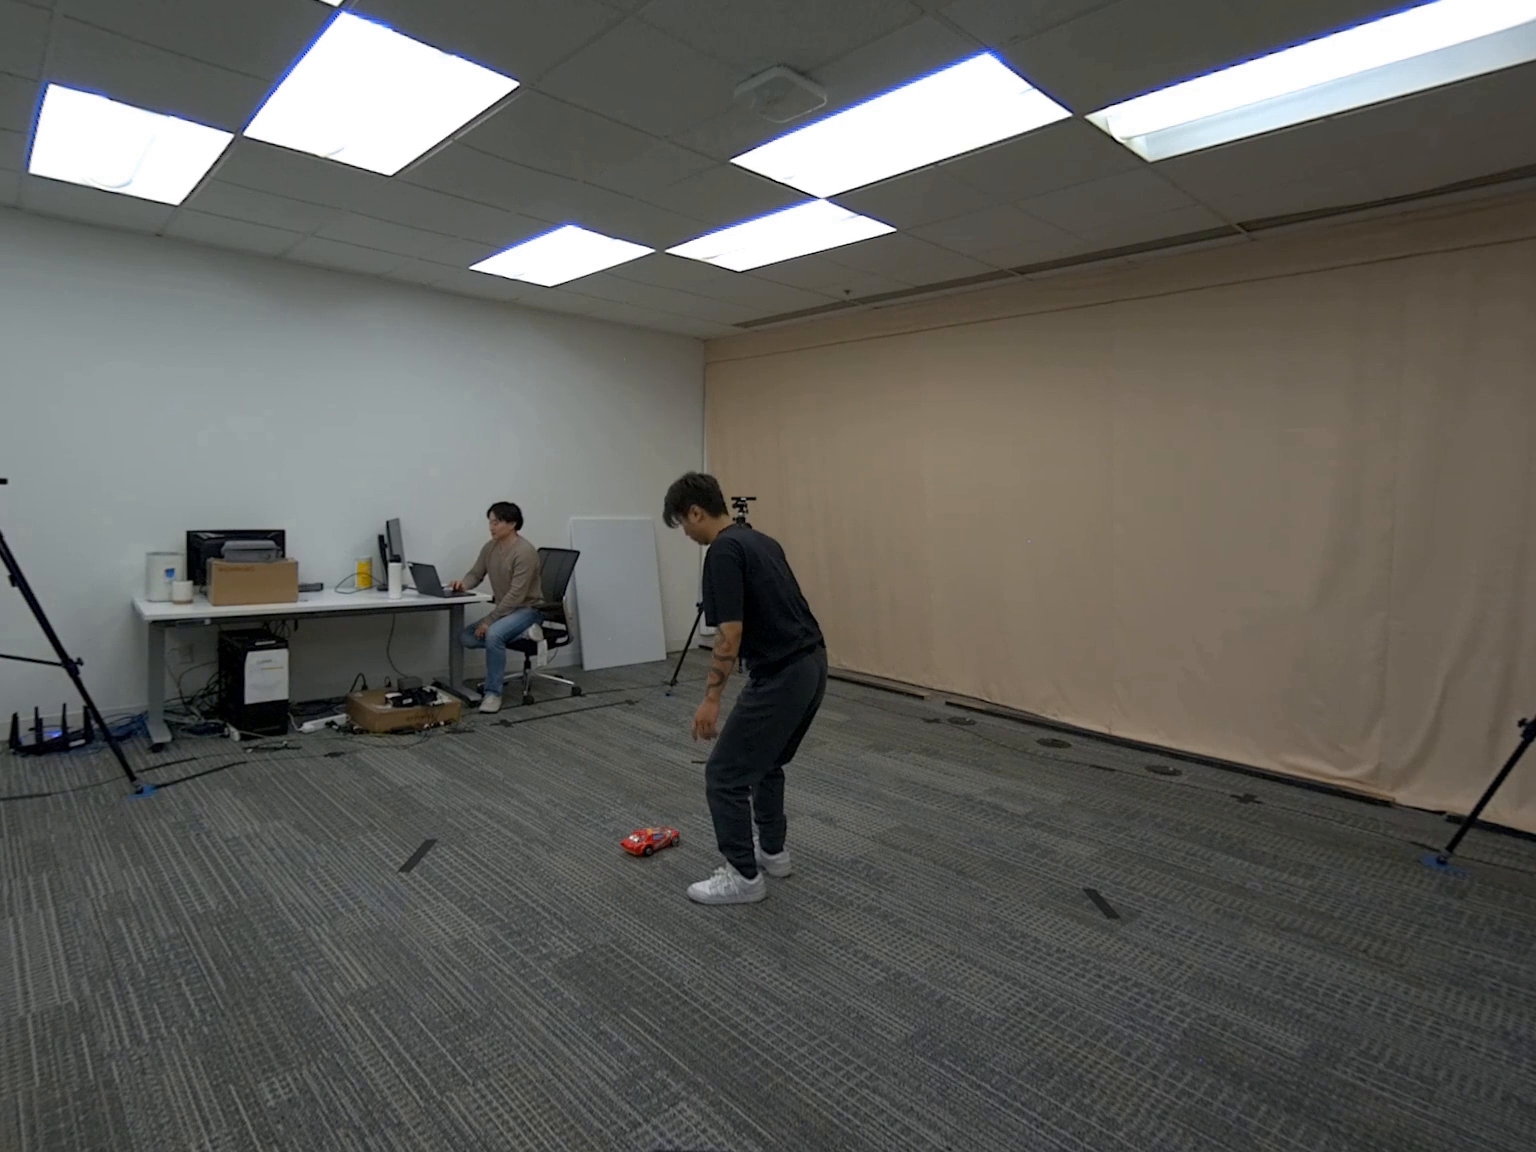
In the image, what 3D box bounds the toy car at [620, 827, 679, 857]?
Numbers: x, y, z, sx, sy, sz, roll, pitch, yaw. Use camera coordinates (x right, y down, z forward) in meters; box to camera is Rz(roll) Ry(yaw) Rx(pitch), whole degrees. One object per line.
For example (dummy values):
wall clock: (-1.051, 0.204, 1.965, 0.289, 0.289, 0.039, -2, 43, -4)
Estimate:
toy car: (-0.476, 1.048, 3.325, 0.133, 0.083, 0.247, 6, -3, 43)
